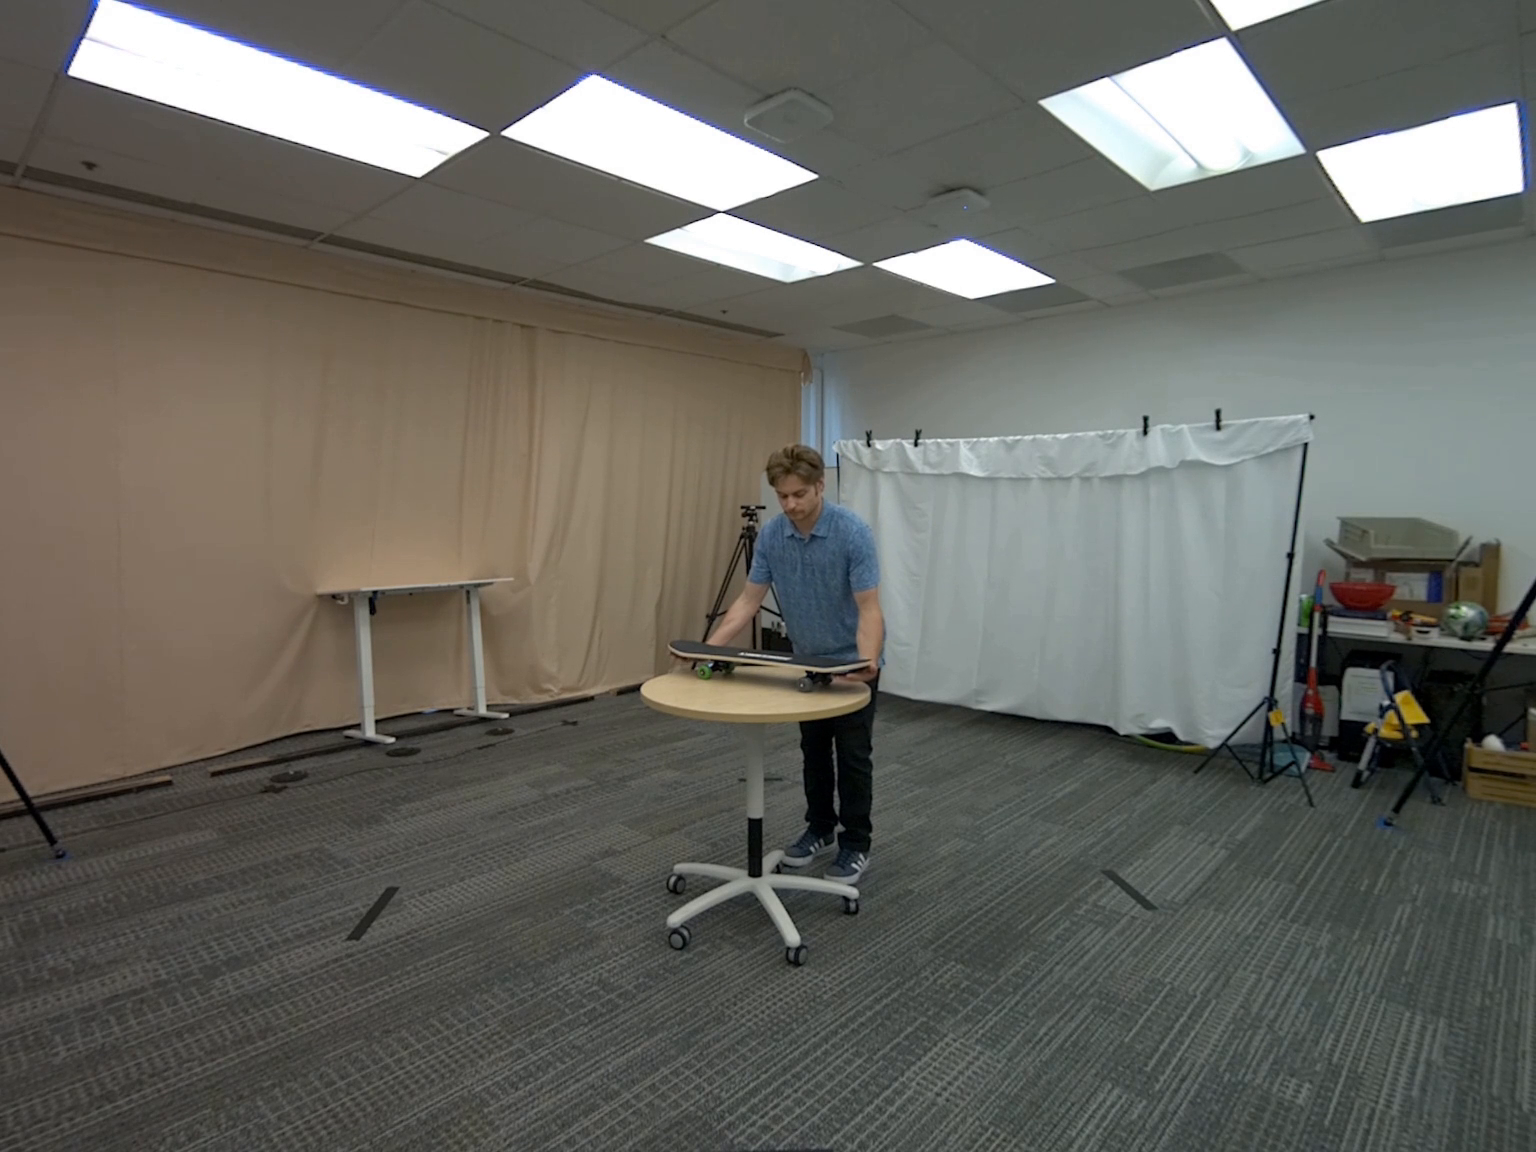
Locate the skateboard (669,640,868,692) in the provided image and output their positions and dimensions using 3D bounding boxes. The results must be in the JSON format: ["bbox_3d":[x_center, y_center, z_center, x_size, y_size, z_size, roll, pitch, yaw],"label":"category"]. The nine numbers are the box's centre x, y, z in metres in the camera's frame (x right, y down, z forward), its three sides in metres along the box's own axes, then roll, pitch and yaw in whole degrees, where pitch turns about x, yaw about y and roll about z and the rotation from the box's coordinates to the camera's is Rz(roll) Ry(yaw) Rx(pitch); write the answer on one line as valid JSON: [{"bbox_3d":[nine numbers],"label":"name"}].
[{"bbox_3d":[-0.004,0.316,2.911,0.810,0.110,0.188,4,3,33],"label":"skateboard"}]
